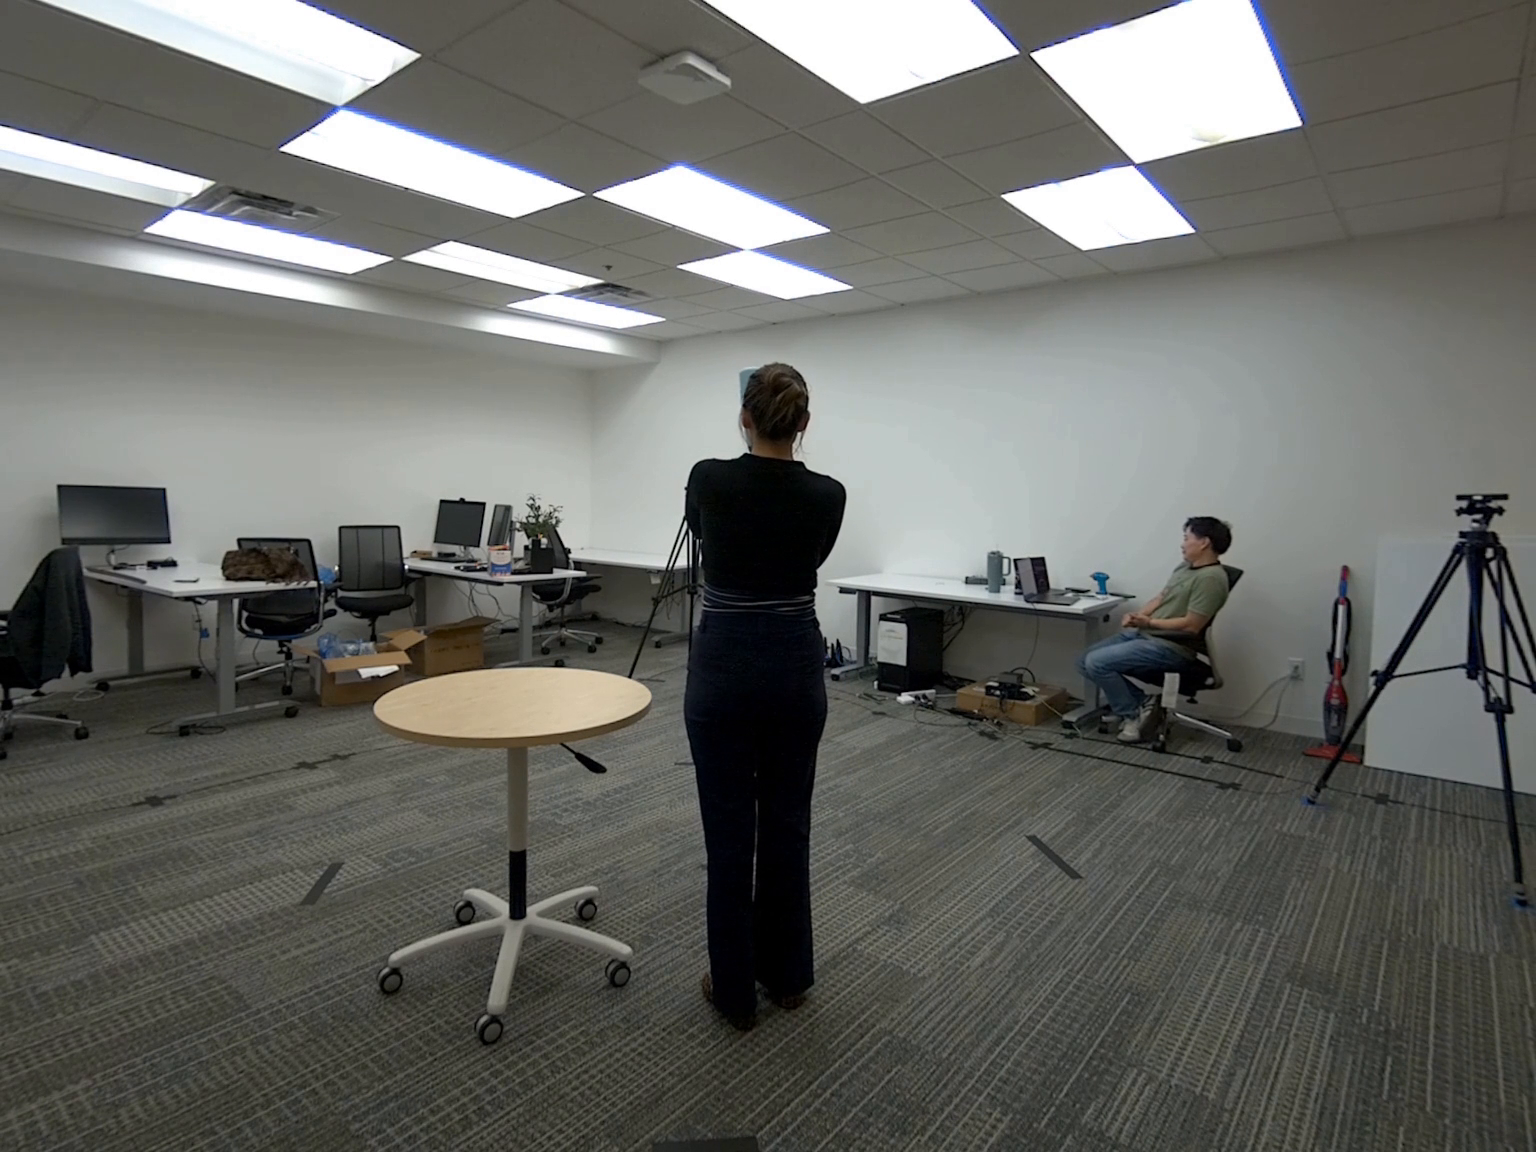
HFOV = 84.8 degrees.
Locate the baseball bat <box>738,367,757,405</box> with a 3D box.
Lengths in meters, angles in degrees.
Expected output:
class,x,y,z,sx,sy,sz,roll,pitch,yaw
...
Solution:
class,x,y,z,sx,sy,sz,roll,pitch,yaw
baseball bat,-0.037,-0.400,2.730,0.089,0.541,0.089,-4,3,-2
